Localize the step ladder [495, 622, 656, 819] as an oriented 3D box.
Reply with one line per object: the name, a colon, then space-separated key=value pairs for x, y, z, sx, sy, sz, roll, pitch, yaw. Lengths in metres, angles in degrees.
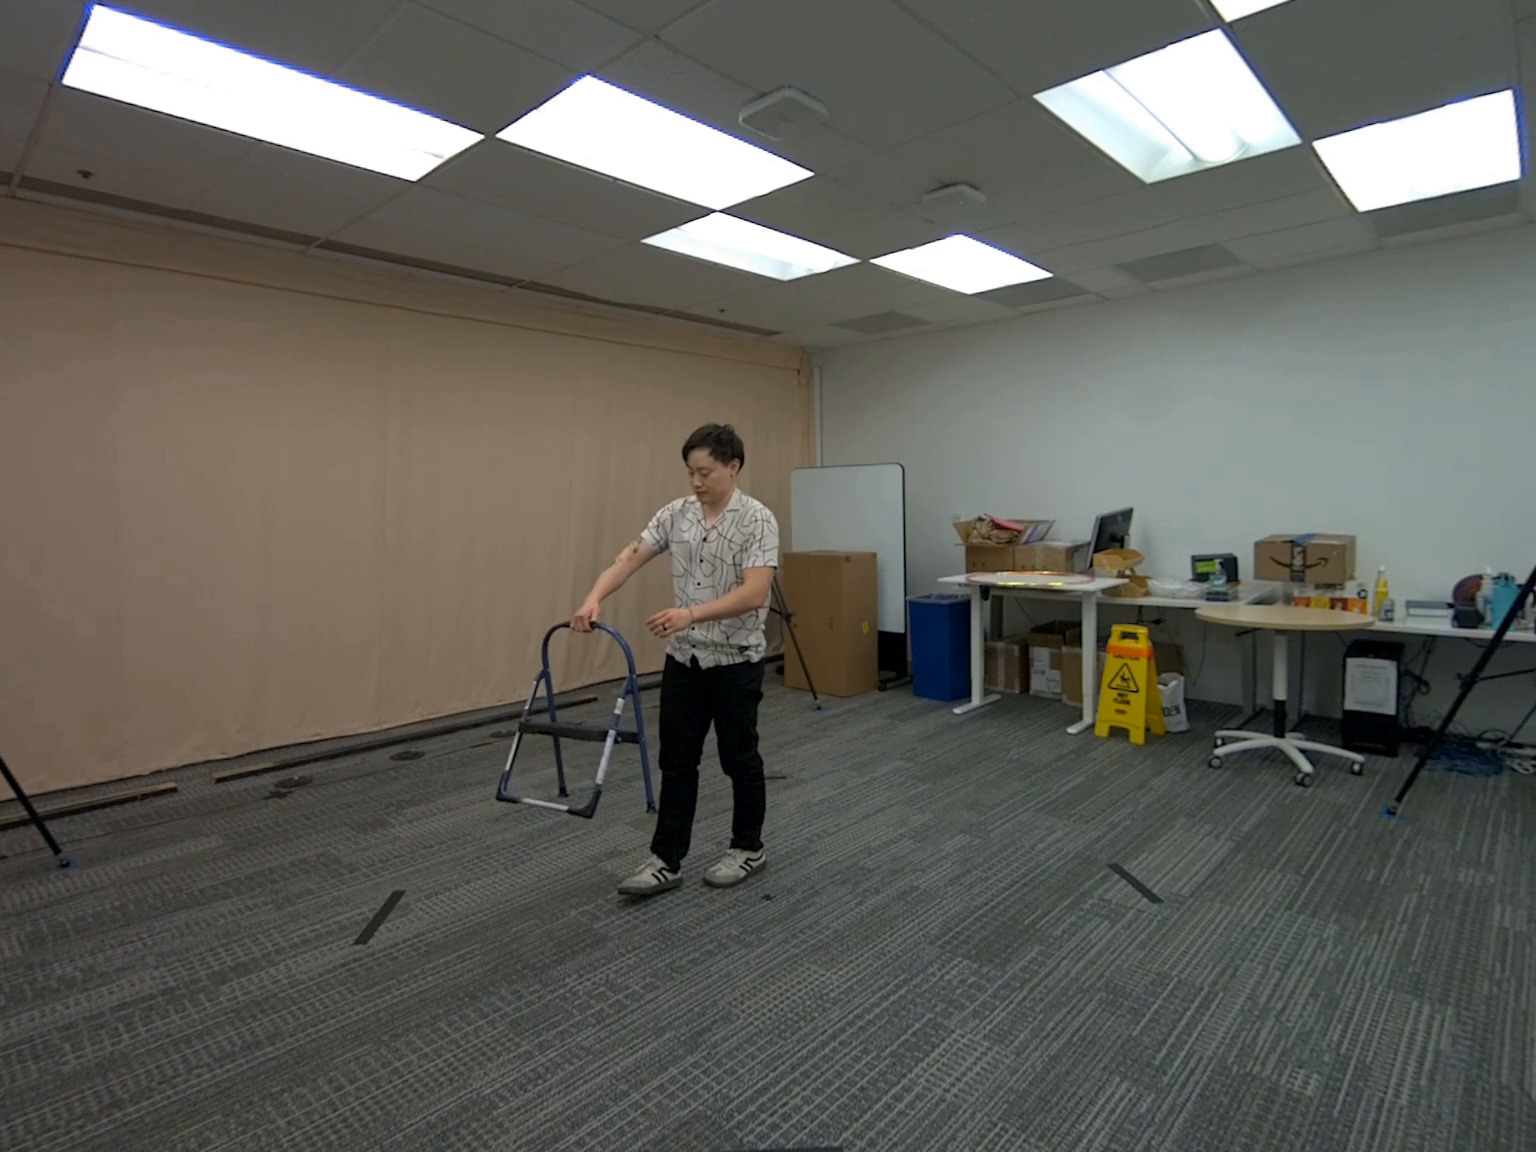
step ladder: x=-0.613 y=0.476 z=2.847 sx=0.443 sy=0.609 sz=0.337 roll=-2 pitch=-12 yaw=31
